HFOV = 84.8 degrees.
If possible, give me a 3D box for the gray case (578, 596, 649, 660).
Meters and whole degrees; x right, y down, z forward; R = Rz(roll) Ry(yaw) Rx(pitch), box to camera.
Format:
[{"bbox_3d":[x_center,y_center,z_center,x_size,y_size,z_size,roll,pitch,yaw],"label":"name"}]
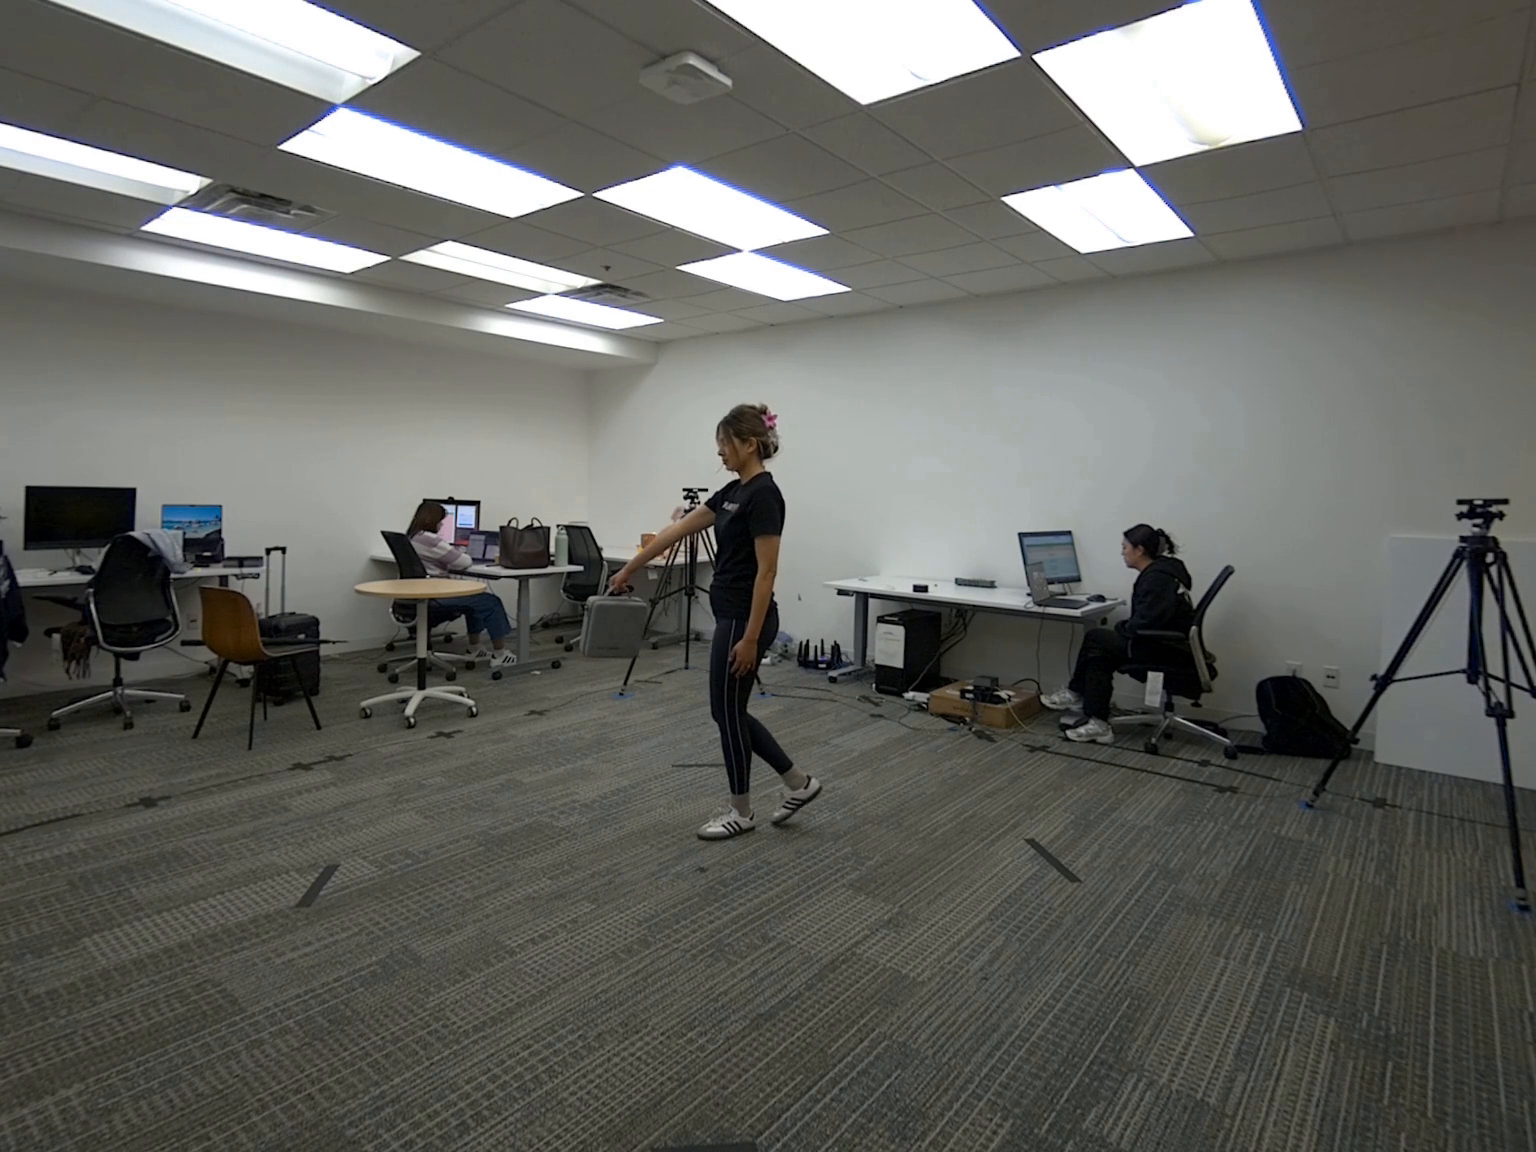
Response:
[{"bbox_3d":[-0.663,0.208,3.586,0.250,0.258,0.108,5,12,-29],"label":"gray case"}]
